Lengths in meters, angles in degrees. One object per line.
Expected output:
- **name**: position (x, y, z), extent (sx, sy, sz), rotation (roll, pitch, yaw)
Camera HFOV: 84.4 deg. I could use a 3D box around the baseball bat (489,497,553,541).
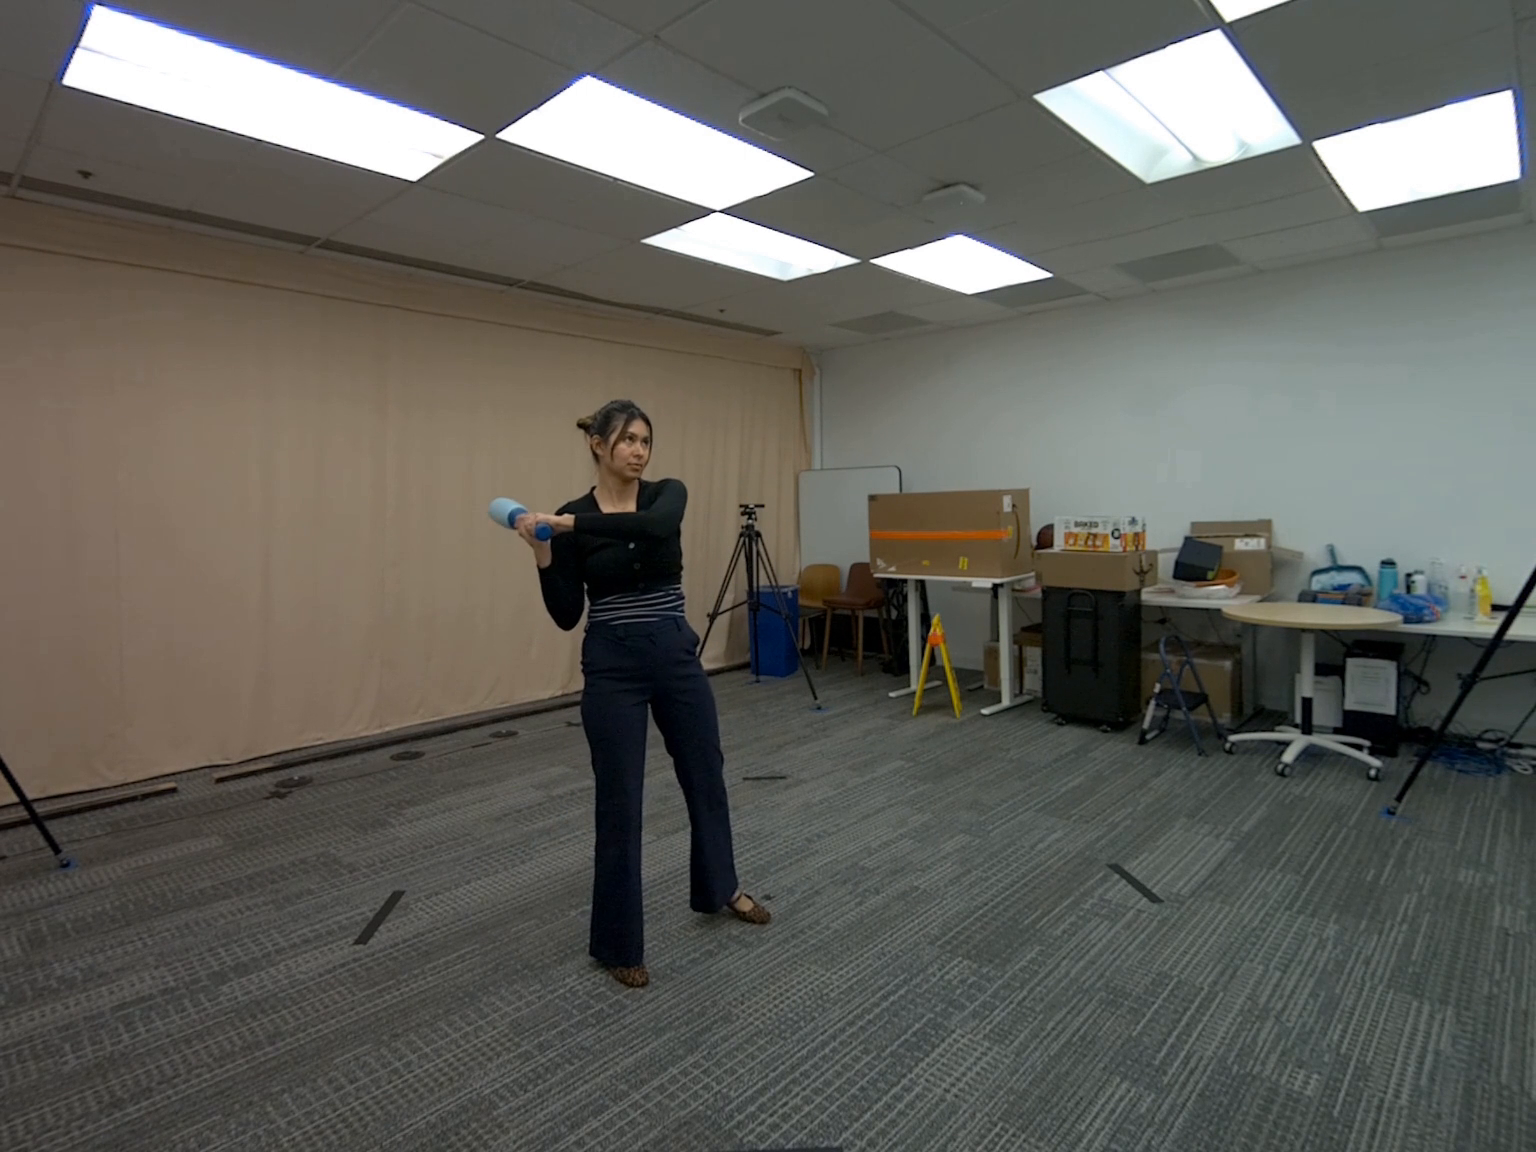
- **baseball bat**: position (-0.731, -0.163, 2.495), extent (0.087, 0.088, 0.560), rotation (-3, 11, -30)
